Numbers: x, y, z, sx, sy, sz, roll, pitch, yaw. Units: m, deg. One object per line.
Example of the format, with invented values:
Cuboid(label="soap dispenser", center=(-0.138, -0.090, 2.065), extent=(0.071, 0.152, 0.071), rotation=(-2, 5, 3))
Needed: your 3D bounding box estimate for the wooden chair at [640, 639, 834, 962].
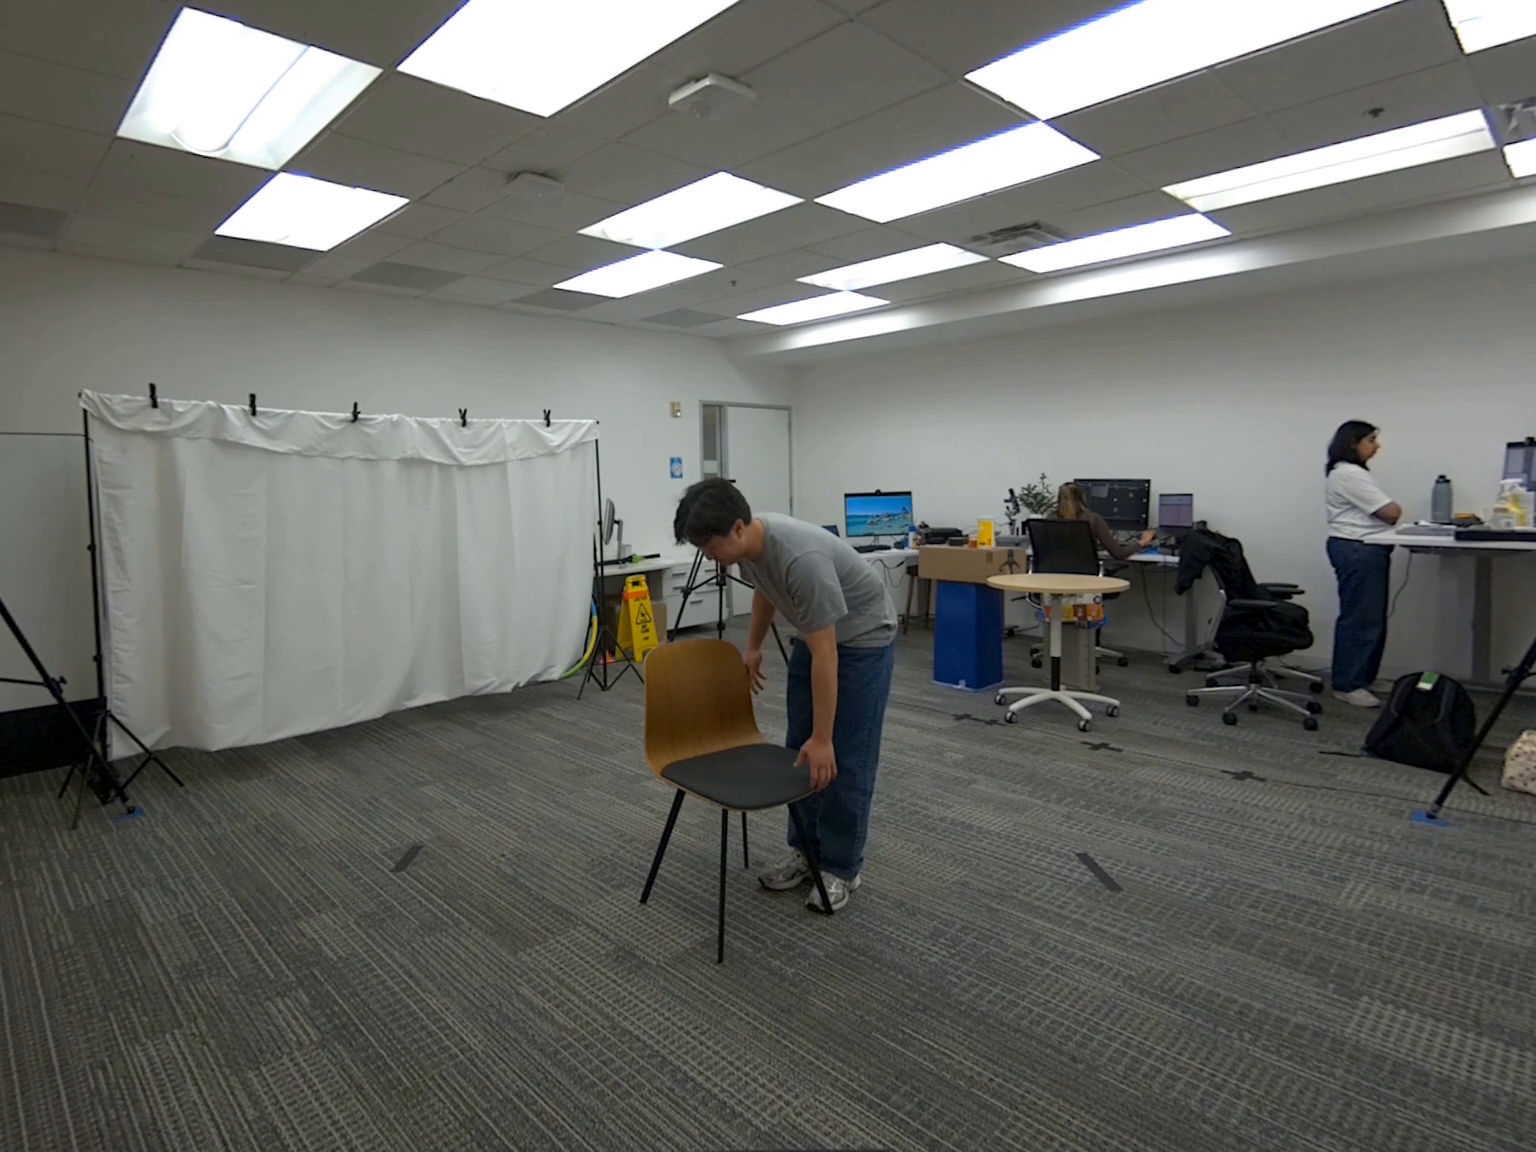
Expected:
Cuboid(label="wooden chair", center=(-0.109, 0.662, 2.738), extent=(0.466, 0.877, 0.537), rotation=(-4, 2, -38))
